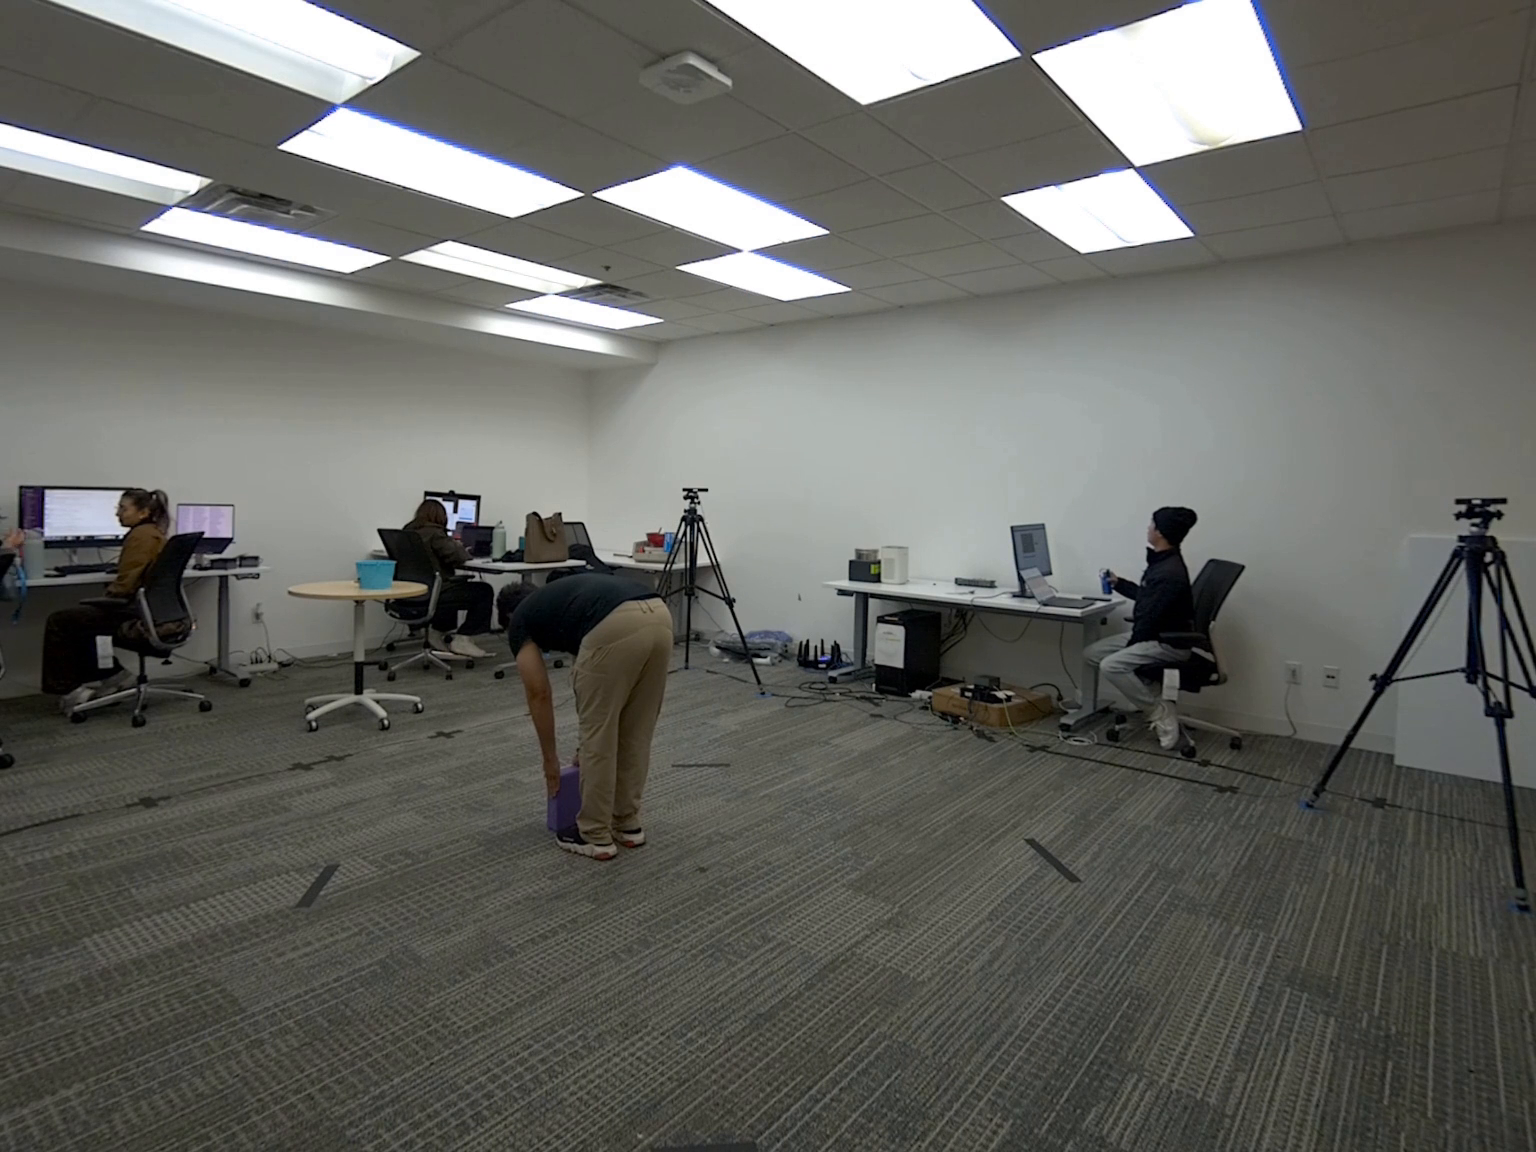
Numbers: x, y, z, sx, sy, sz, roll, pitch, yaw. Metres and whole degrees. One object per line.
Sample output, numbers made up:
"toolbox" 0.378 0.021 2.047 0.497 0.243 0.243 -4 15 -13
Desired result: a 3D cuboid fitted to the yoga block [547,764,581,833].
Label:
"yoga block" -0.836 0.909 3.485 0.079 0.229 0.144 3 4 43
